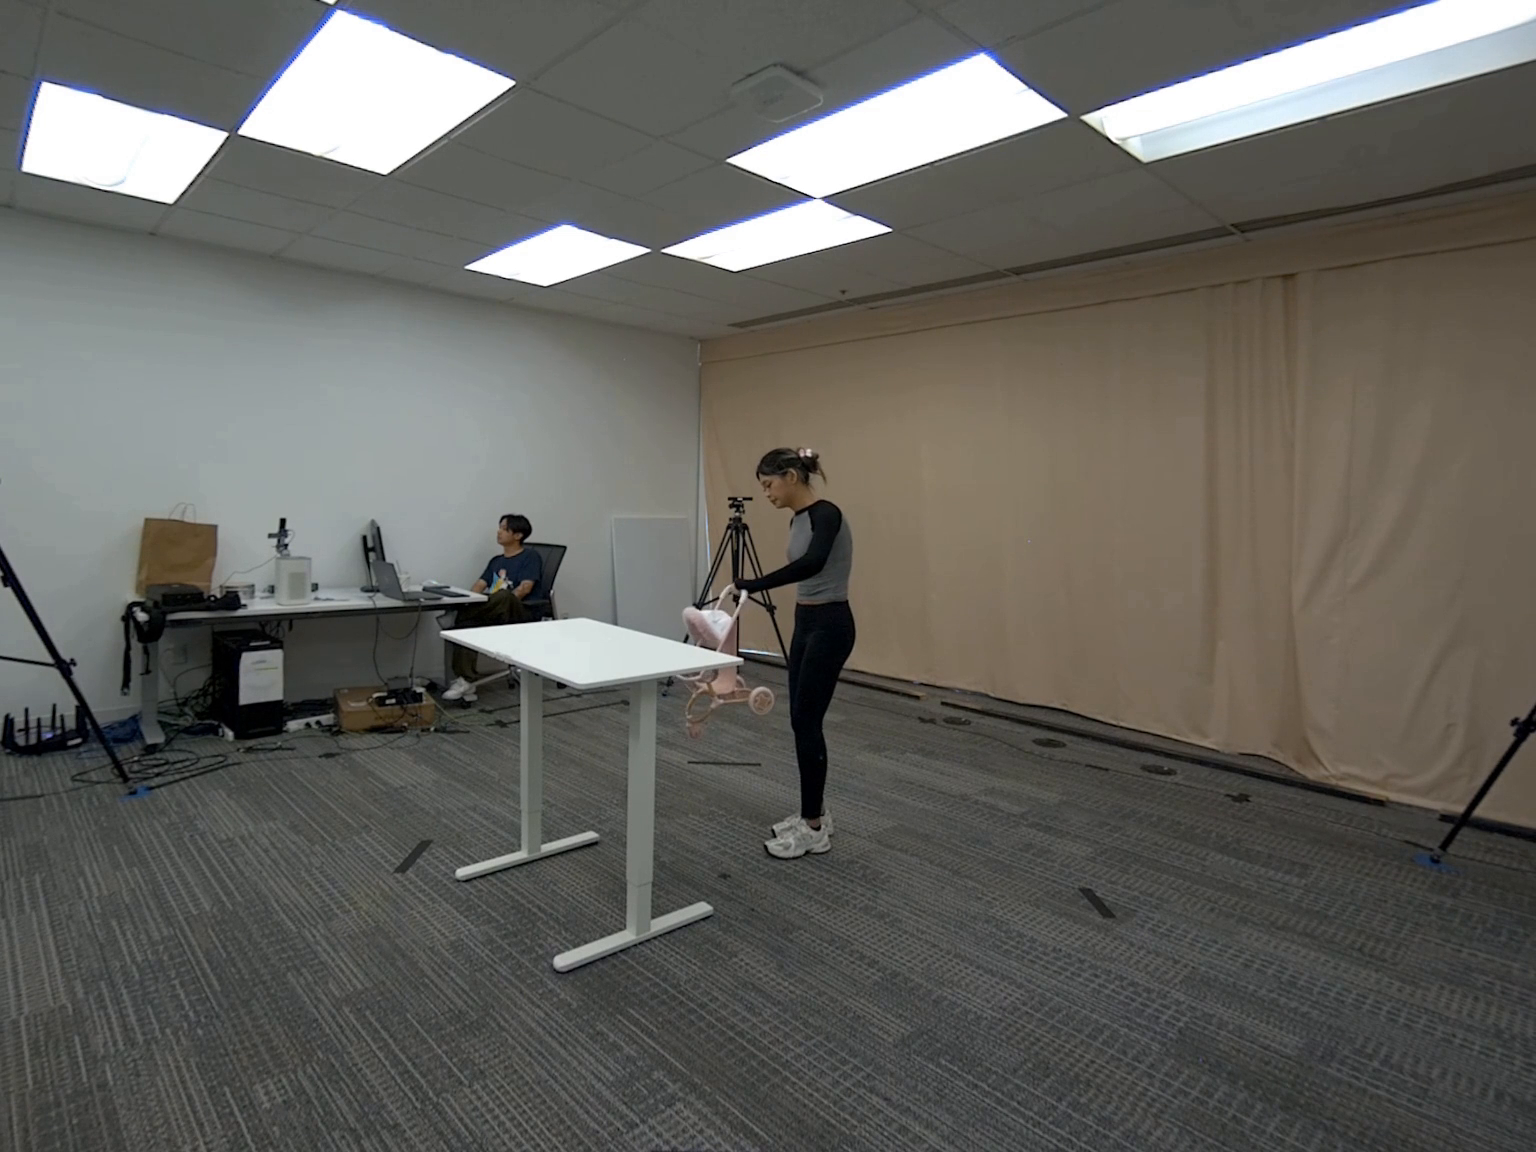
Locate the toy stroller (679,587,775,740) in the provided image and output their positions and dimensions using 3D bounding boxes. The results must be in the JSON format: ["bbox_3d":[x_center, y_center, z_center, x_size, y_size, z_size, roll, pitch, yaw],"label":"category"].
[{"bbox_3d":[-0.218,0.337,3.210,0.337,0.531,0.287,-14,9,-20],"label":"toy stroller"}]
